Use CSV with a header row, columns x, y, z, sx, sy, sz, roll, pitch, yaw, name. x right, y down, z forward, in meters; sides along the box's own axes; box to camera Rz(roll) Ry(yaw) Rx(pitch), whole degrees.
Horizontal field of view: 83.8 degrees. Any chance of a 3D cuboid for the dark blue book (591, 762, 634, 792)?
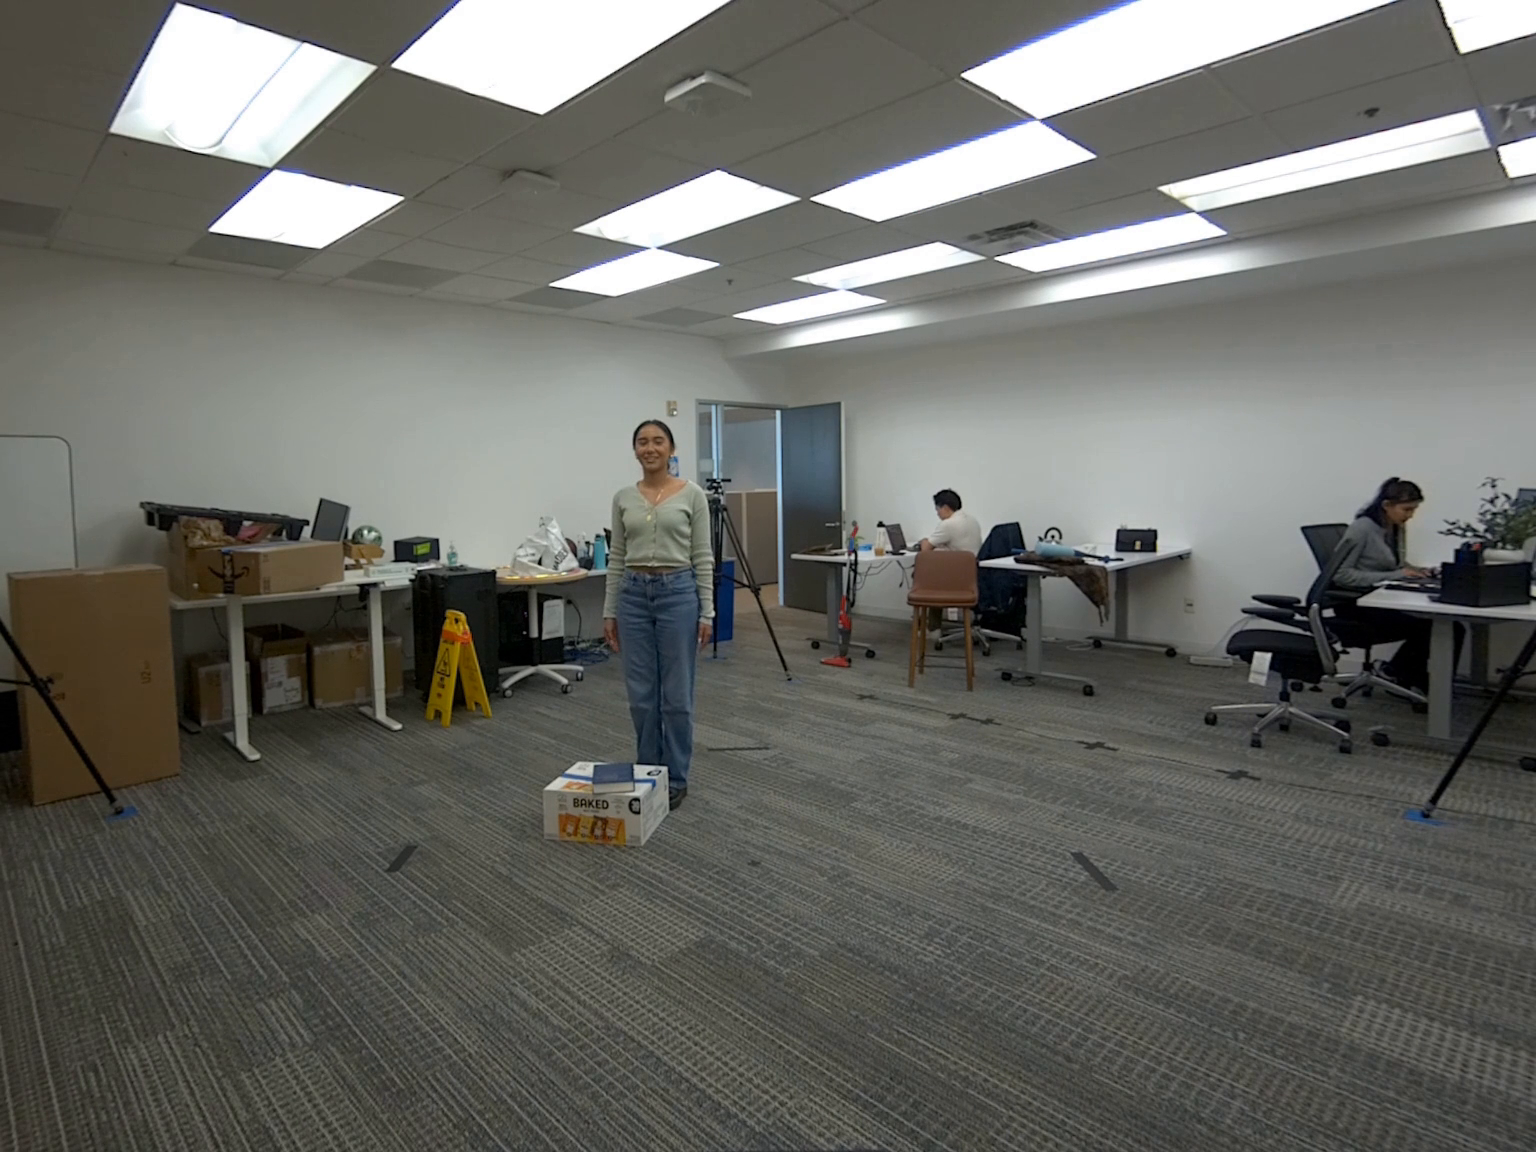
x,y,z,sx,sy,sz,roll,pitch,yaw,name
-0.621,0.808,3.397,0.162,0.045,0.248,-4,6,-9,dark blue book
